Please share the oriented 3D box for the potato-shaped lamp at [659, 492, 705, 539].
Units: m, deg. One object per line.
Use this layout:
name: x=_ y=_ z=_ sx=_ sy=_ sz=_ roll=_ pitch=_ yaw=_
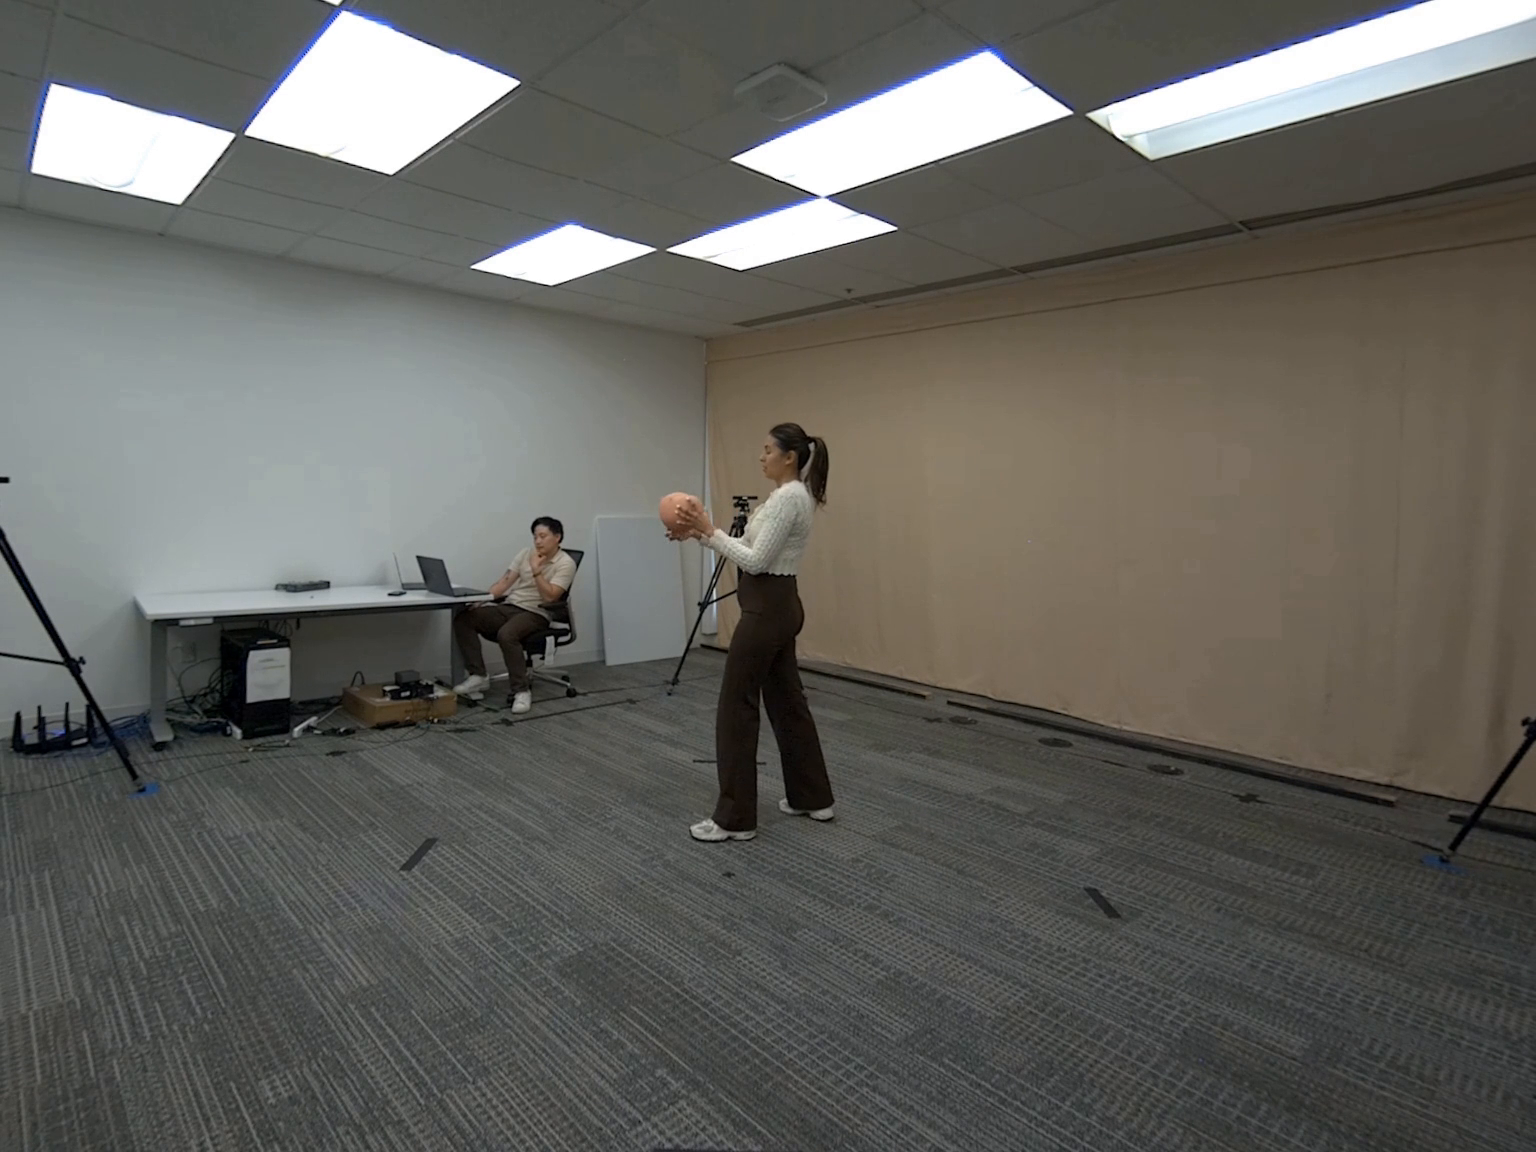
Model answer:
potato-shaped lamp: x=-0.365 y=-0.271 z=3.554 sx=0.161 sy=0.172 sz=0.201 roll=3 pitch=-9 yaw=-35
